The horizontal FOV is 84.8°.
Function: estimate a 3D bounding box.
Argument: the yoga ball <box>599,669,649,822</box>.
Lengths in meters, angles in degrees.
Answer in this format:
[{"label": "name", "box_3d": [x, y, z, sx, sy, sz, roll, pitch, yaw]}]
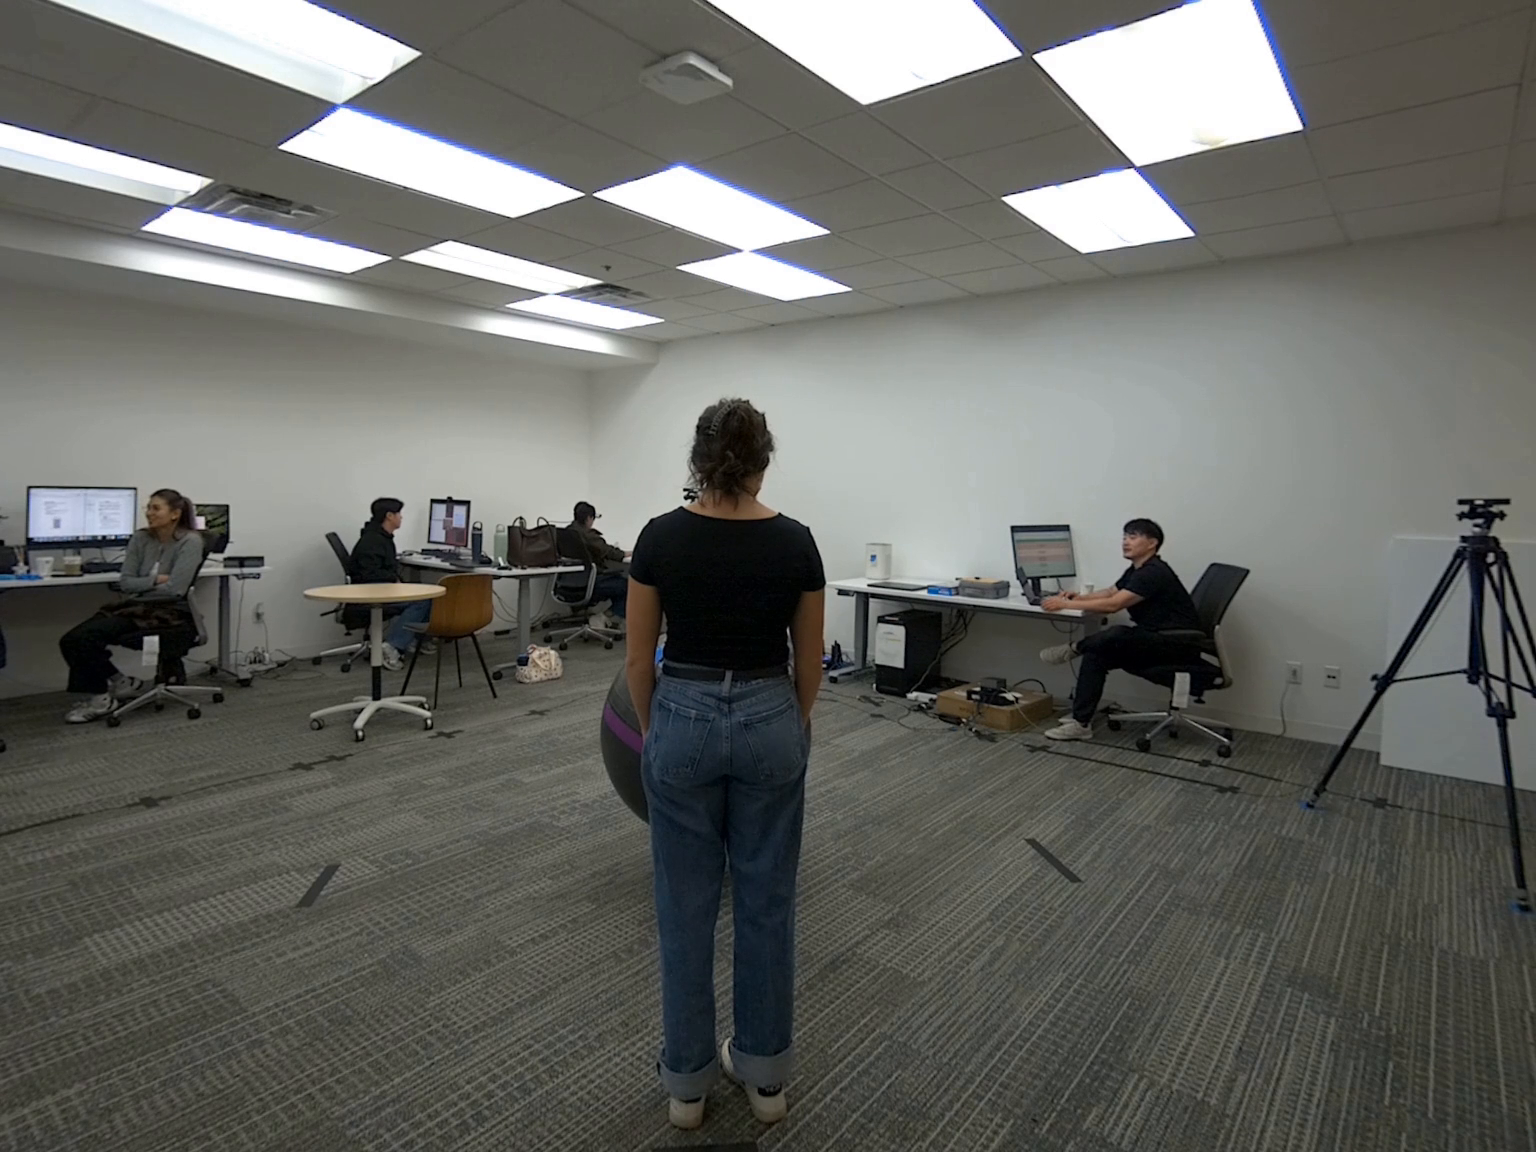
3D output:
[{"label": "yoga ball", "box_3d": [-0.233, 0.552, 3.077, 0.757, 0.756, 0.762, 1, 4, -2]}]
